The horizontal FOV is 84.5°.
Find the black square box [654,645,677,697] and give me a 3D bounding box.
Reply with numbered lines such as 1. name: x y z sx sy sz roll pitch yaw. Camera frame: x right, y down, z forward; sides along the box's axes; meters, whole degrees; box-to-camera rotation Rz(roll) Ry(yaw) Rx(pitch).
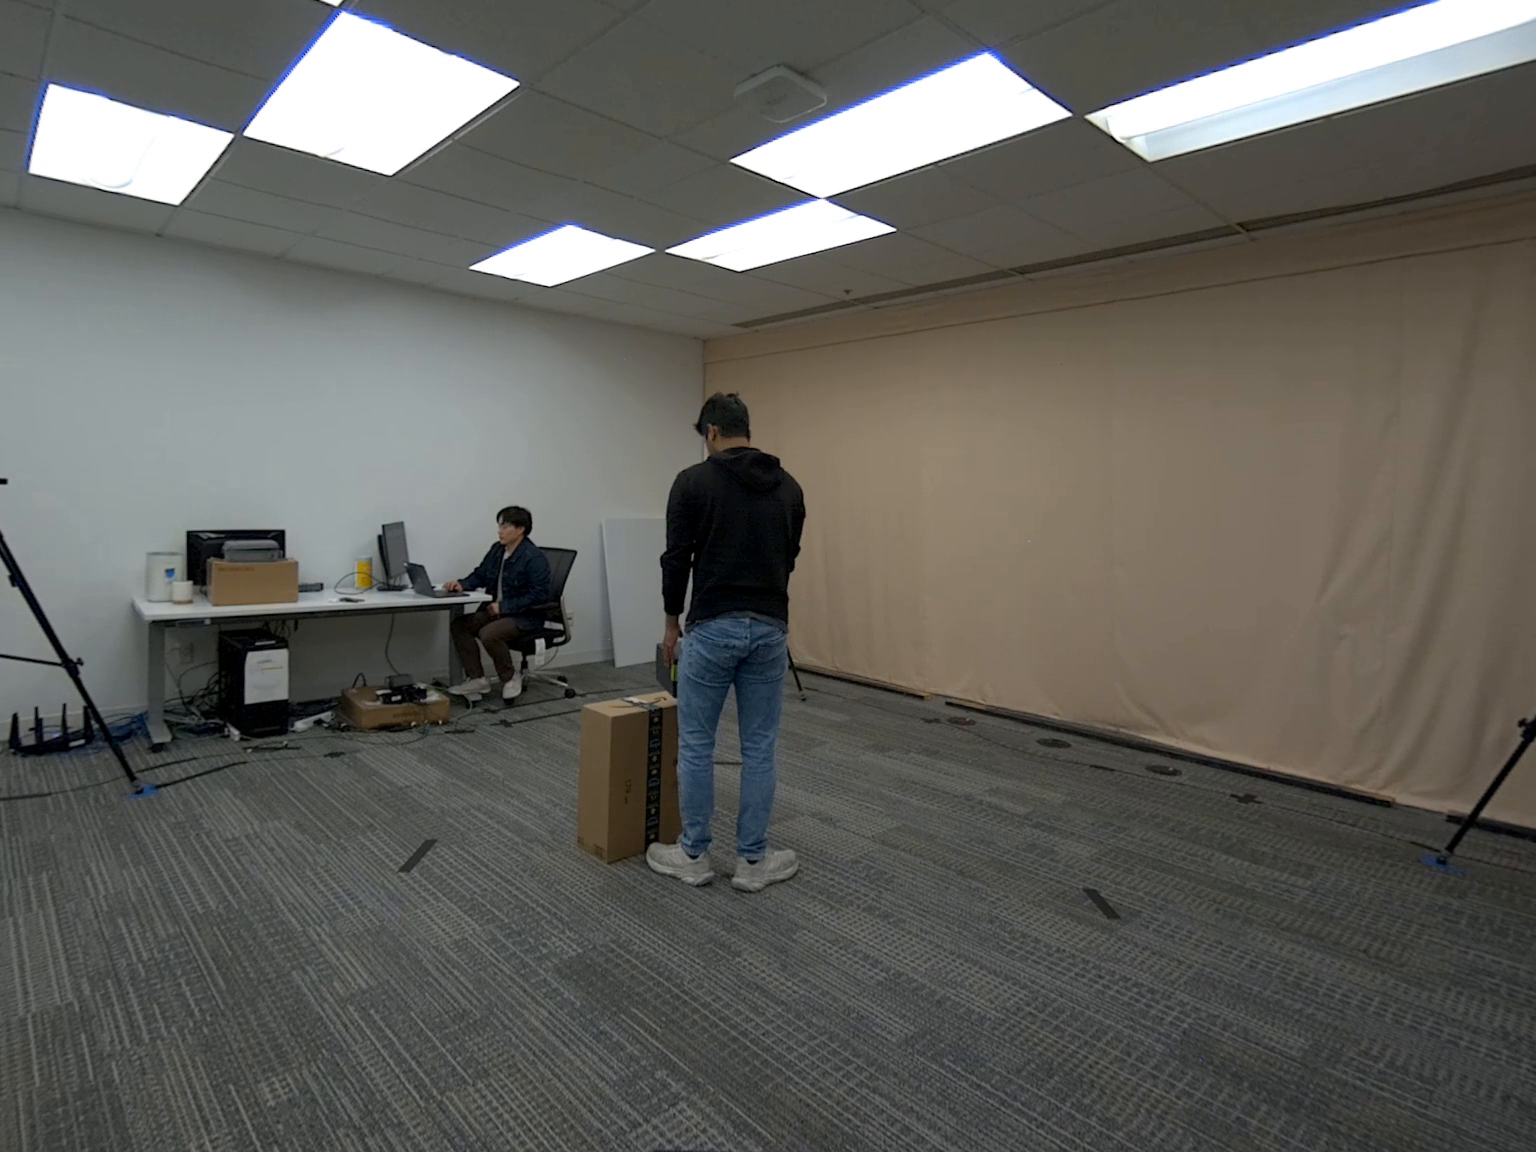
1. black square box: -0.300 0.366 3.311 0.224 0.154 0.222 -2 14 -22
